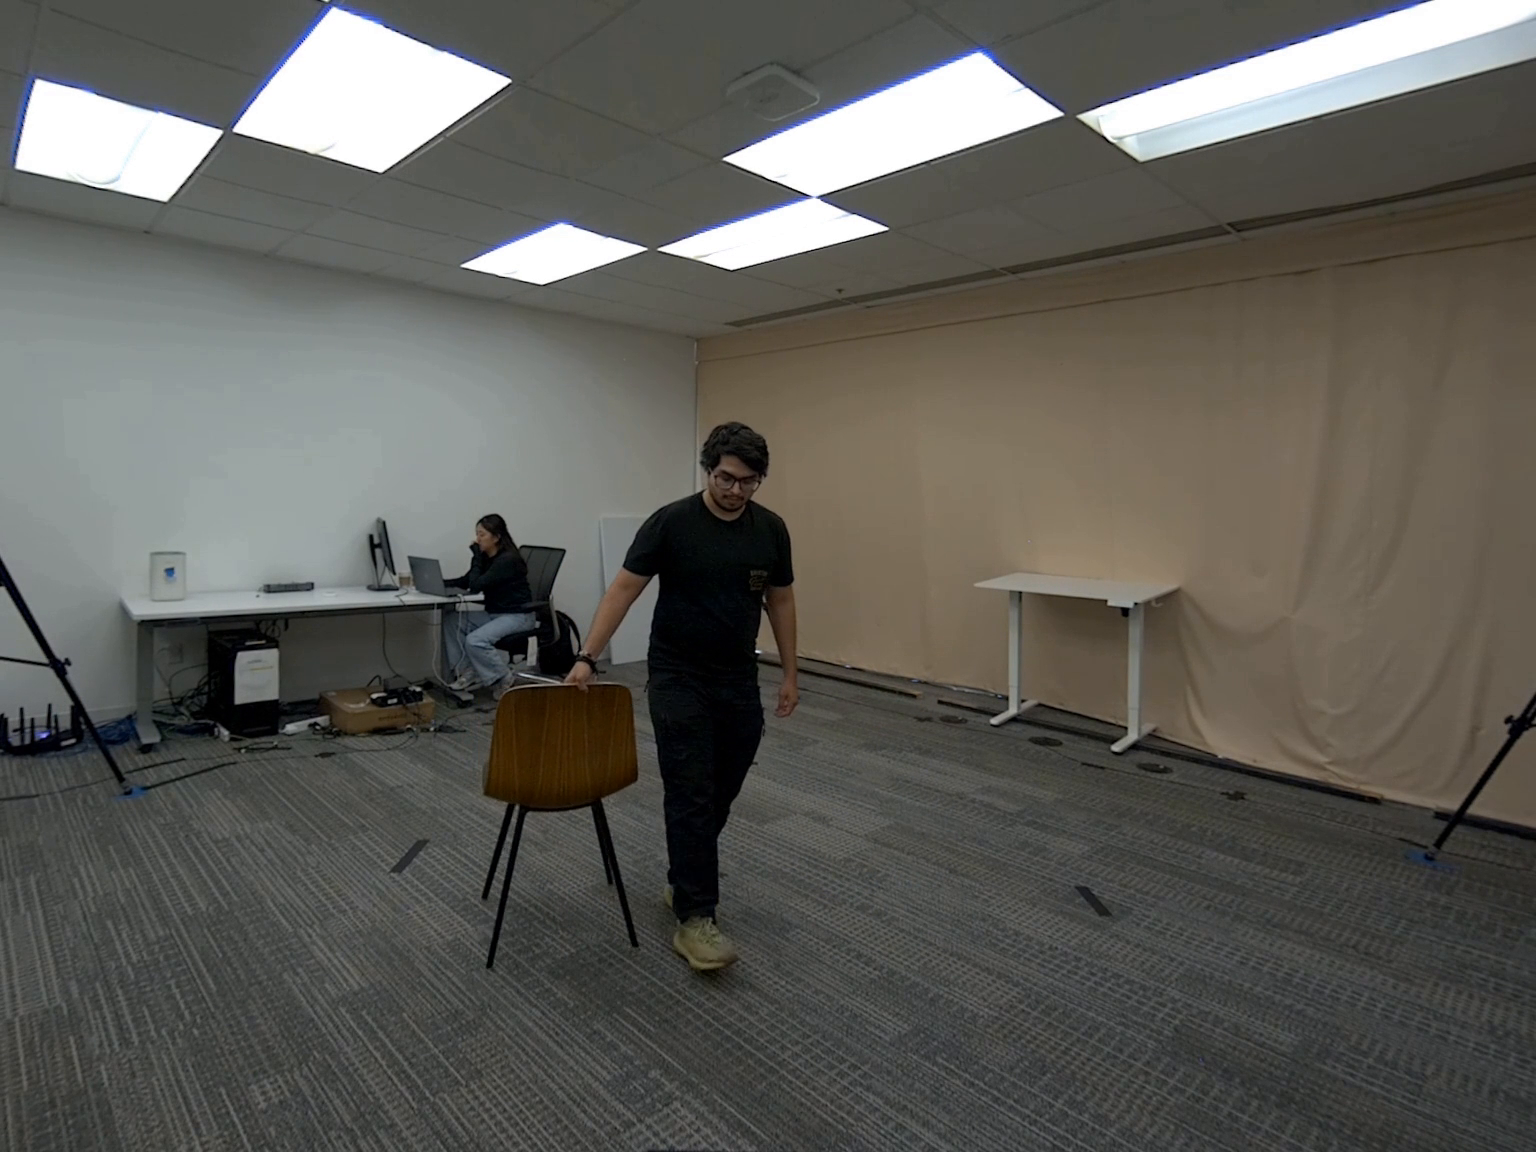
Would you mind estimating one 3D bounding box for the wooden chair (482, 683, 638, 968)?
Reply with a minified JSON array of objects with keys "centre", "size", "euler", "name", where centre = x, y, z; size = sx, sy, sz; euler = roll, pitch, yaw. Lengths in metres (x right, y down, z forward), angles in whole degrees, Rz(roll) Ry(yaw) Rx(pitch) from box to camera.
[{"centre":[-0.683,0.701,2.712],"size":[0.471,0.873,0.534],"euler":[0,8,-20],"name":"wooden chair"}]
